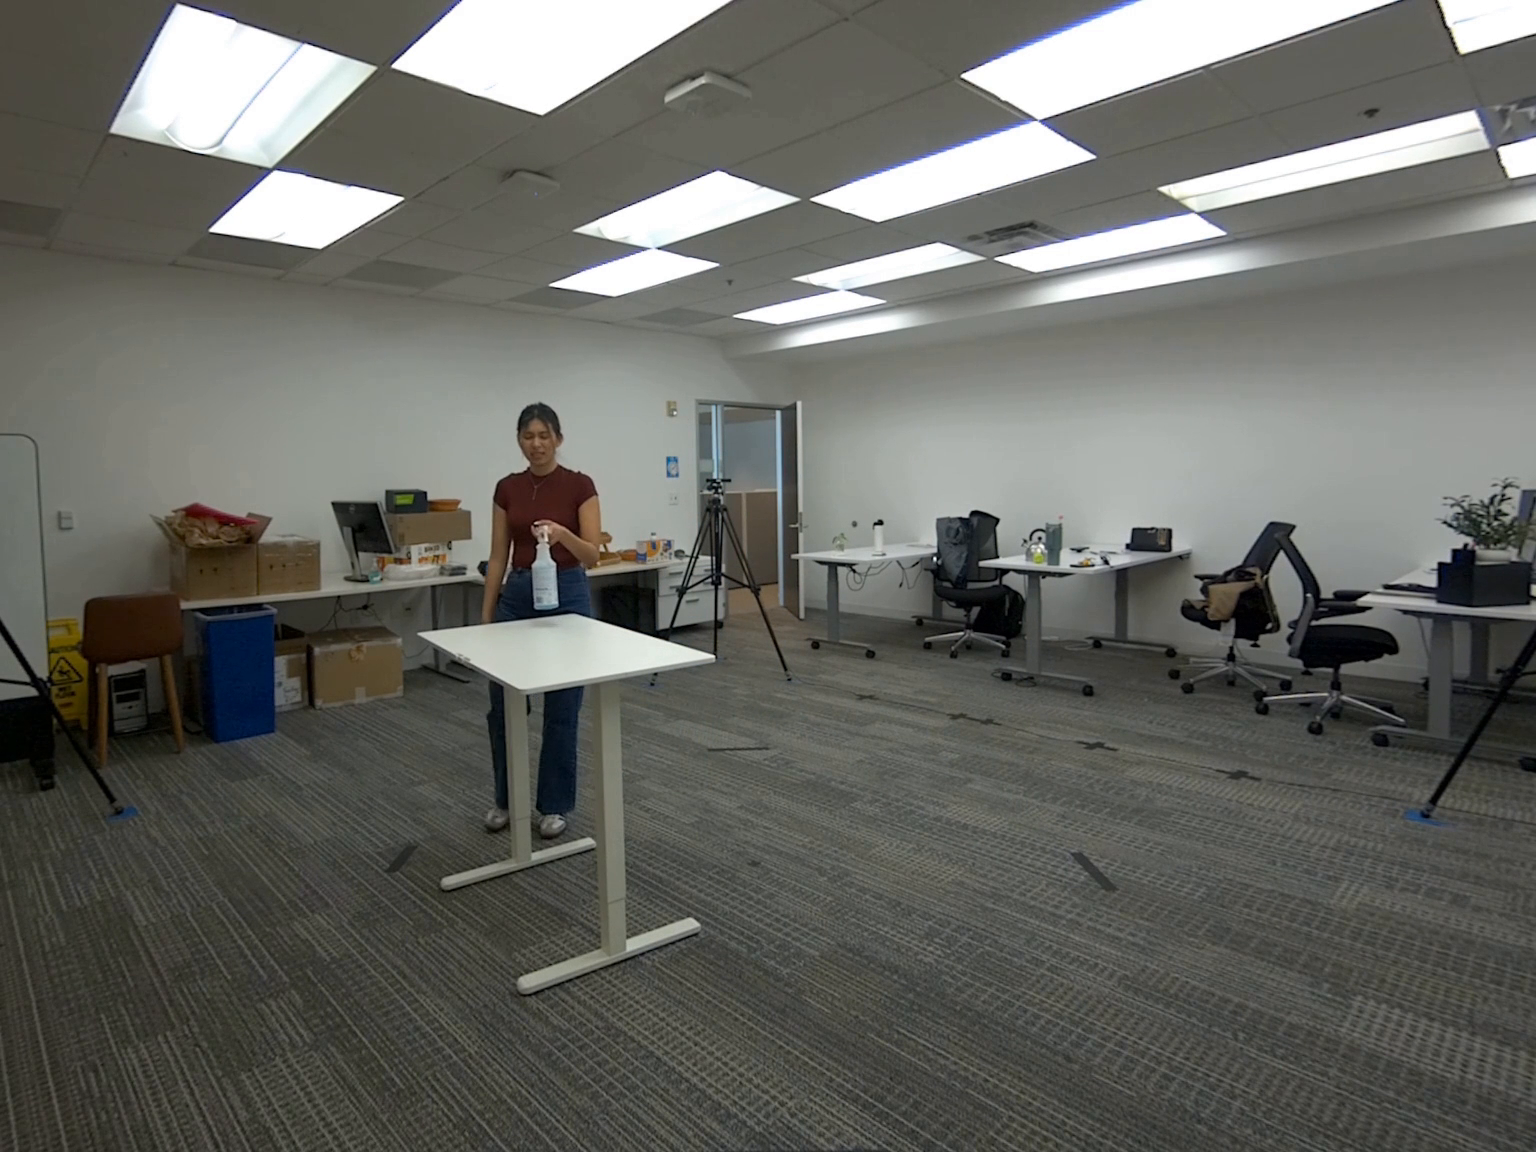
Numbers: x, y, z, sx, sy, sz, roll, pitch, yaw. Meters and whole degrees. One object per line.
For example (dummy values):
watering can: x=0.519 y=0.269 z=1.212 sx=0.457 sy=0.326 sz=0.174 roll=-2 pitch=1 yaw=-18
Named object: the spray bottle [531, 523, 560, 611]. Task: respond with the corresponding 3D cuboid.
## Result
spray bottle: x=-0.817 y=-0.028 z=3.066 sx=0.087 sy=0.296 sz=0.091 roll=-2 pitch=4 yaw=-4
